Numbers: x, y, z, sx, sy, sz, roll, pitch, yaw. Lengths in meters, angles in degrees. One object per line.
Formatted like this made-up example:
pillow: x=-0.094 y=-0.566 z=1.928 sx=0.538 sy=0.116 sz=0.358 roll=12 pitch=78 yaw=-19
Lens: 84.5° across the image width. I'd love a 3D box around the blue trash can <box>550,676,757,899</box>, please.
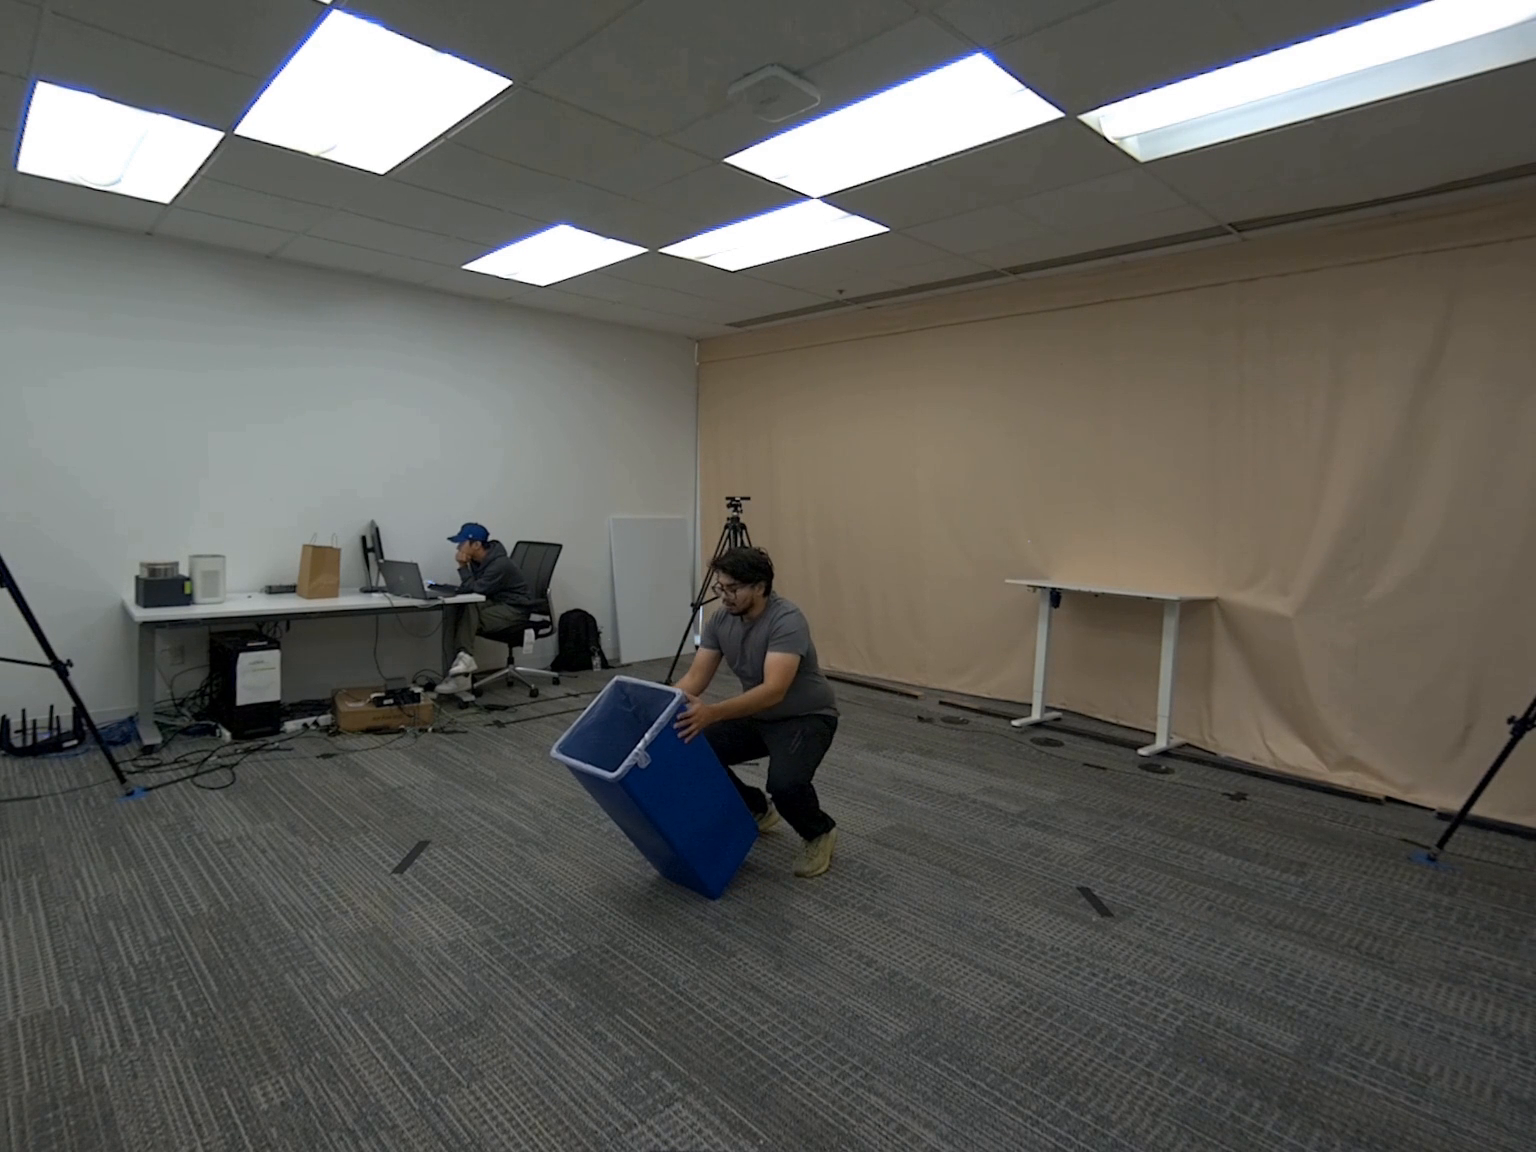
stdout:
blue trash can: x=-0.371 y=0.748 z=2.918 sx=0.383 sy=0.695 sz=0.378 roll=4 pitch=42 yaw=43
